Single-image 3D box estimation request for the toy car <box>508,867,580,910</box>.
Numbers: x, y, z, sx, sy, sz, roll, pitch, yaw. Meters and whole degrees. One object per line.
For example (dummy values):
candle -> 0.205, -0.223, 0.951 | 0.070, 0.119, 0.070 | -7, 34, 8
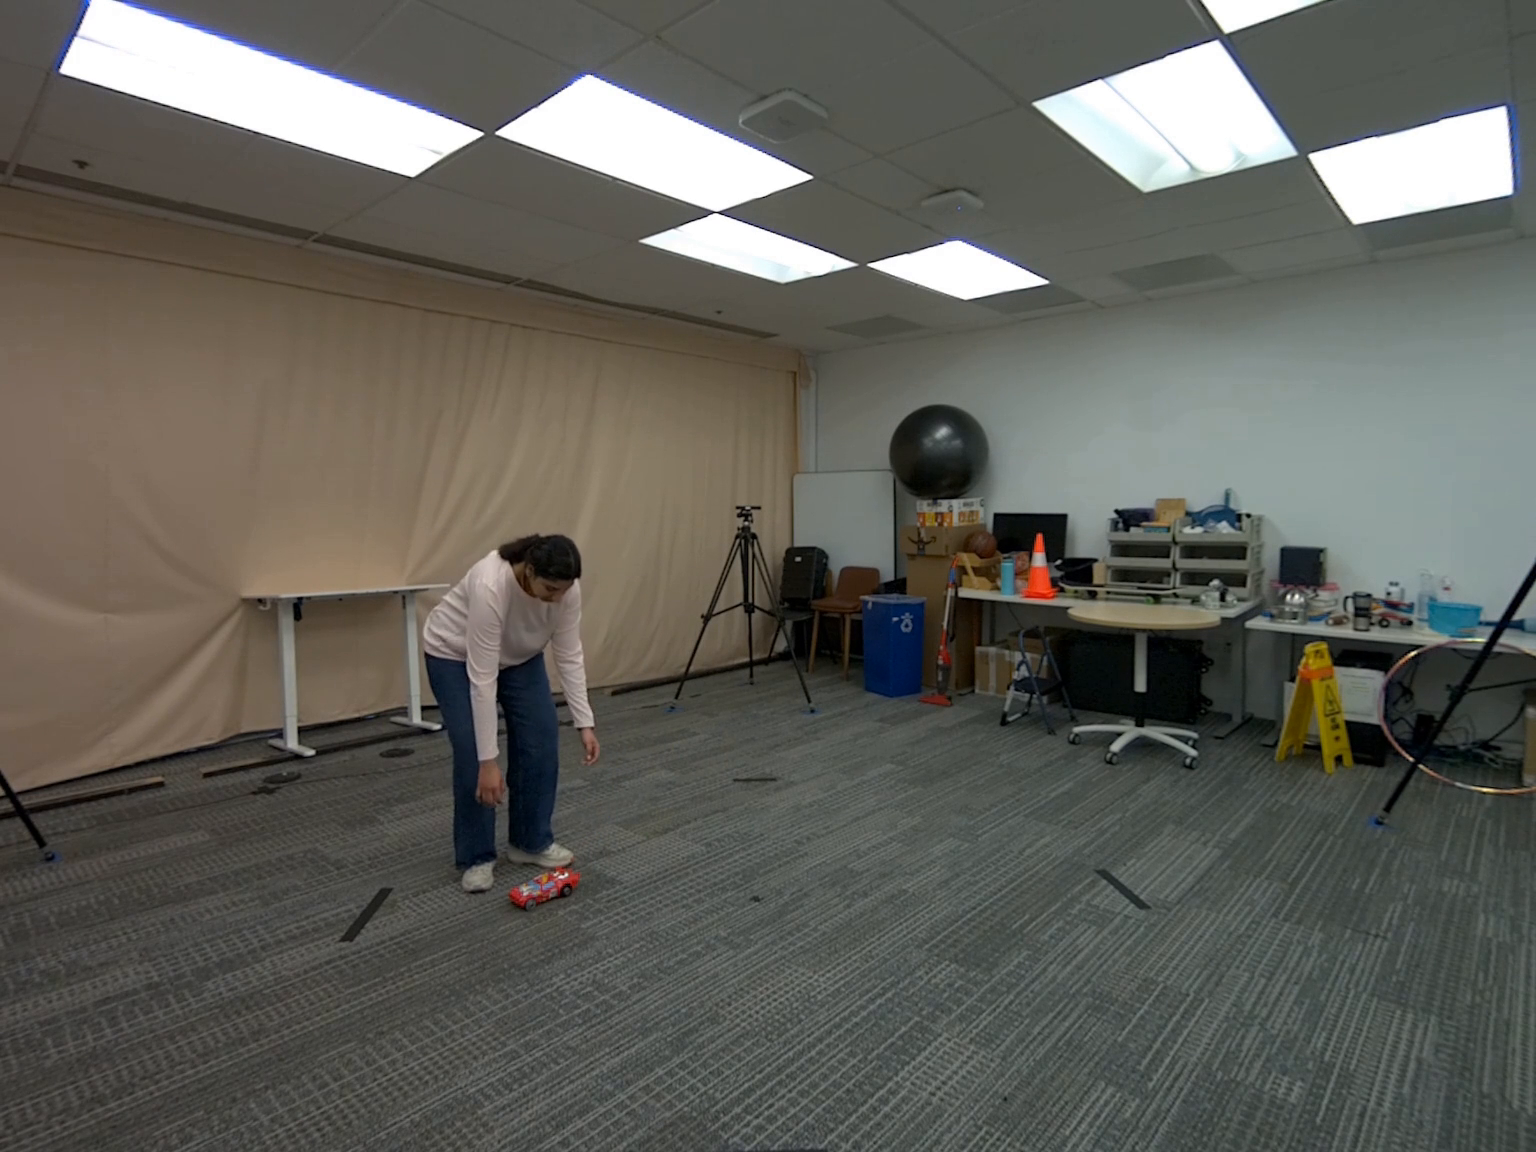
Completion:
toy car -> -0.792, 1.115, 3.010 | 0.248, 0.082, 0.134 | -19, 14, -41
